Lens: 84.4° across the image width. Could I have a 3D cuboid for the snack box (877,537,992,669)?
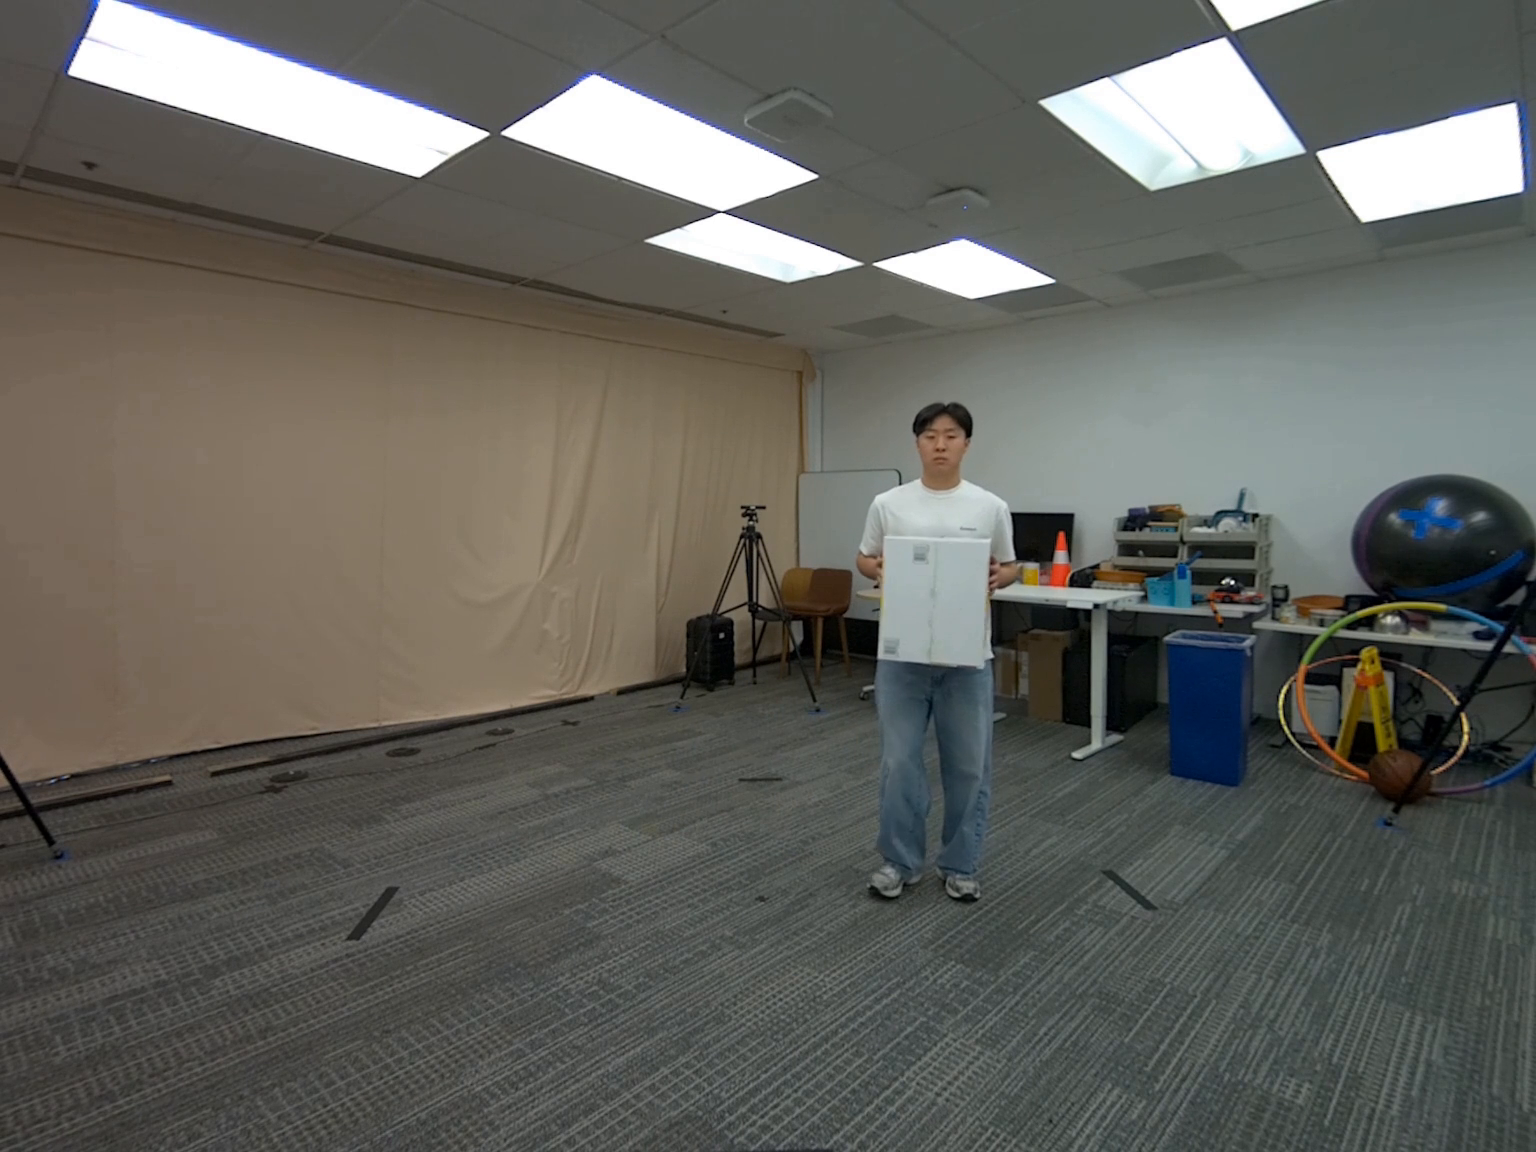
[{"bbox_3d":[0.549,0.072,2.788,0.346,0.404,0.202,3,5,16],"label":"snack box"}]
